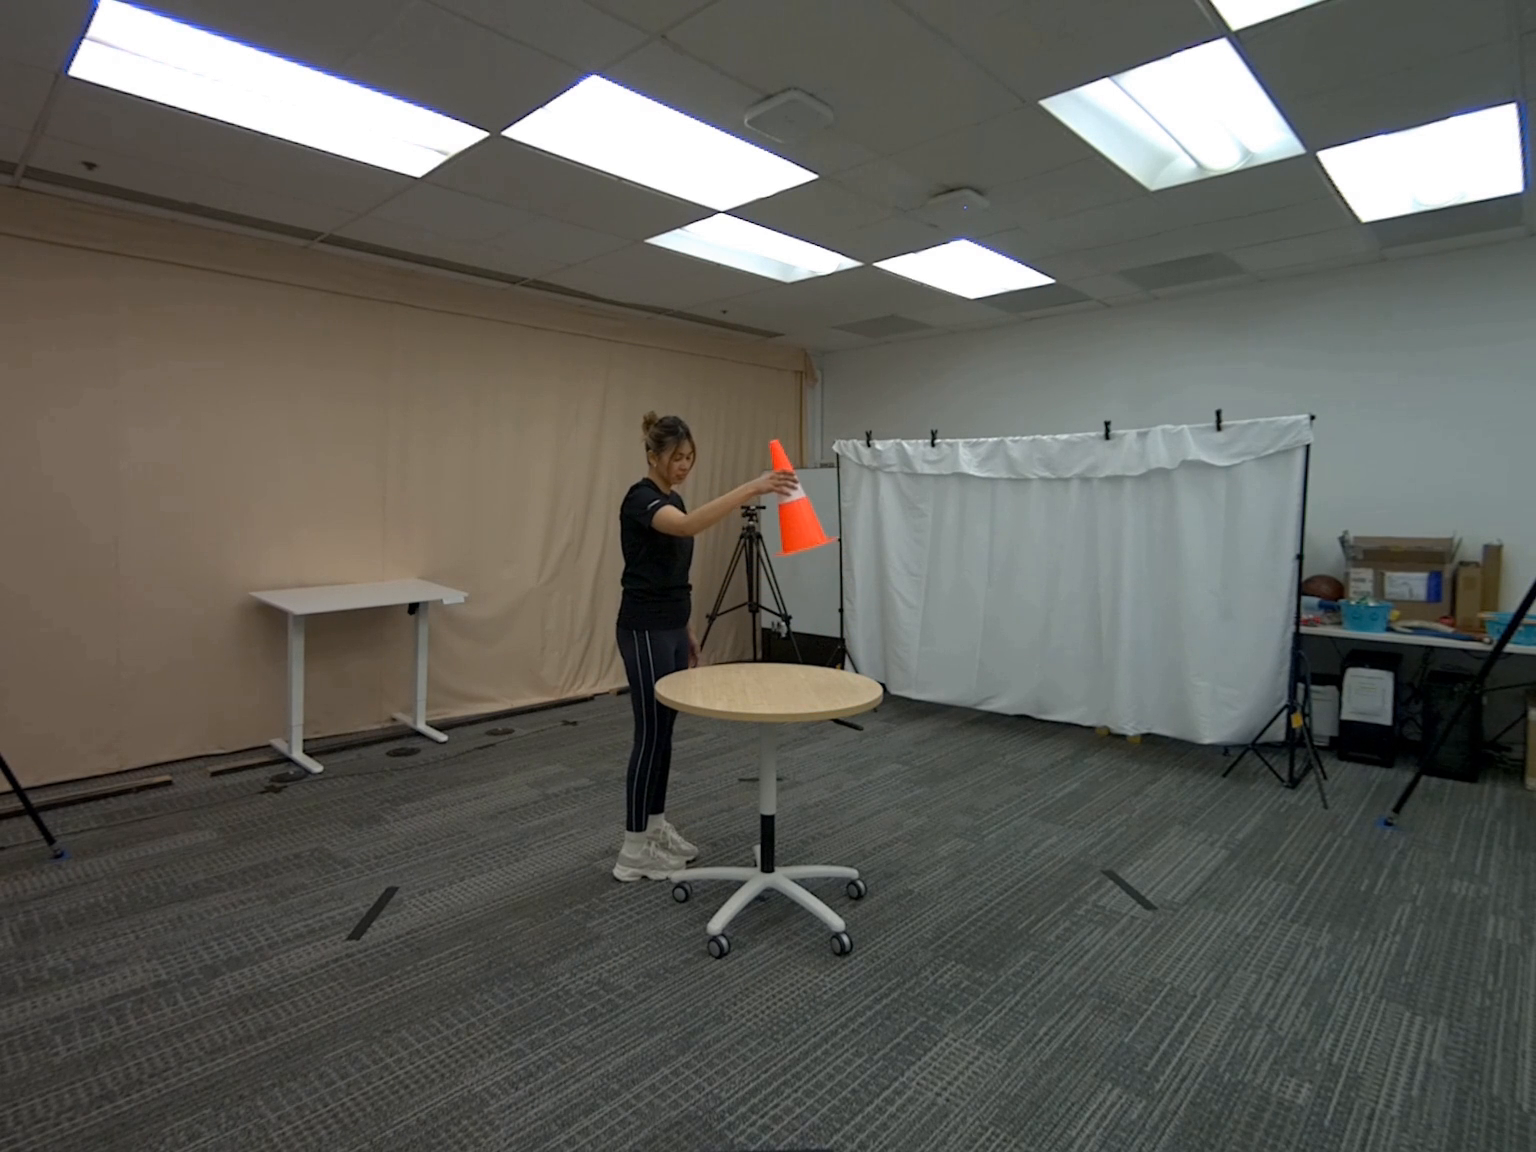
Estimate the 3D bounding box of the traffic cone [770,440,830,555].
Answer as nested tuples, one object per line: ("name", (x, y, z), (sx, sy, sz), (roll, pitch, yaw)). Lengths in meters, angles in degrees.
("traffic cone", (0.078, -0.271, 2.896), (0.202, 0.382, 0.206), (-19, 3, -16))
